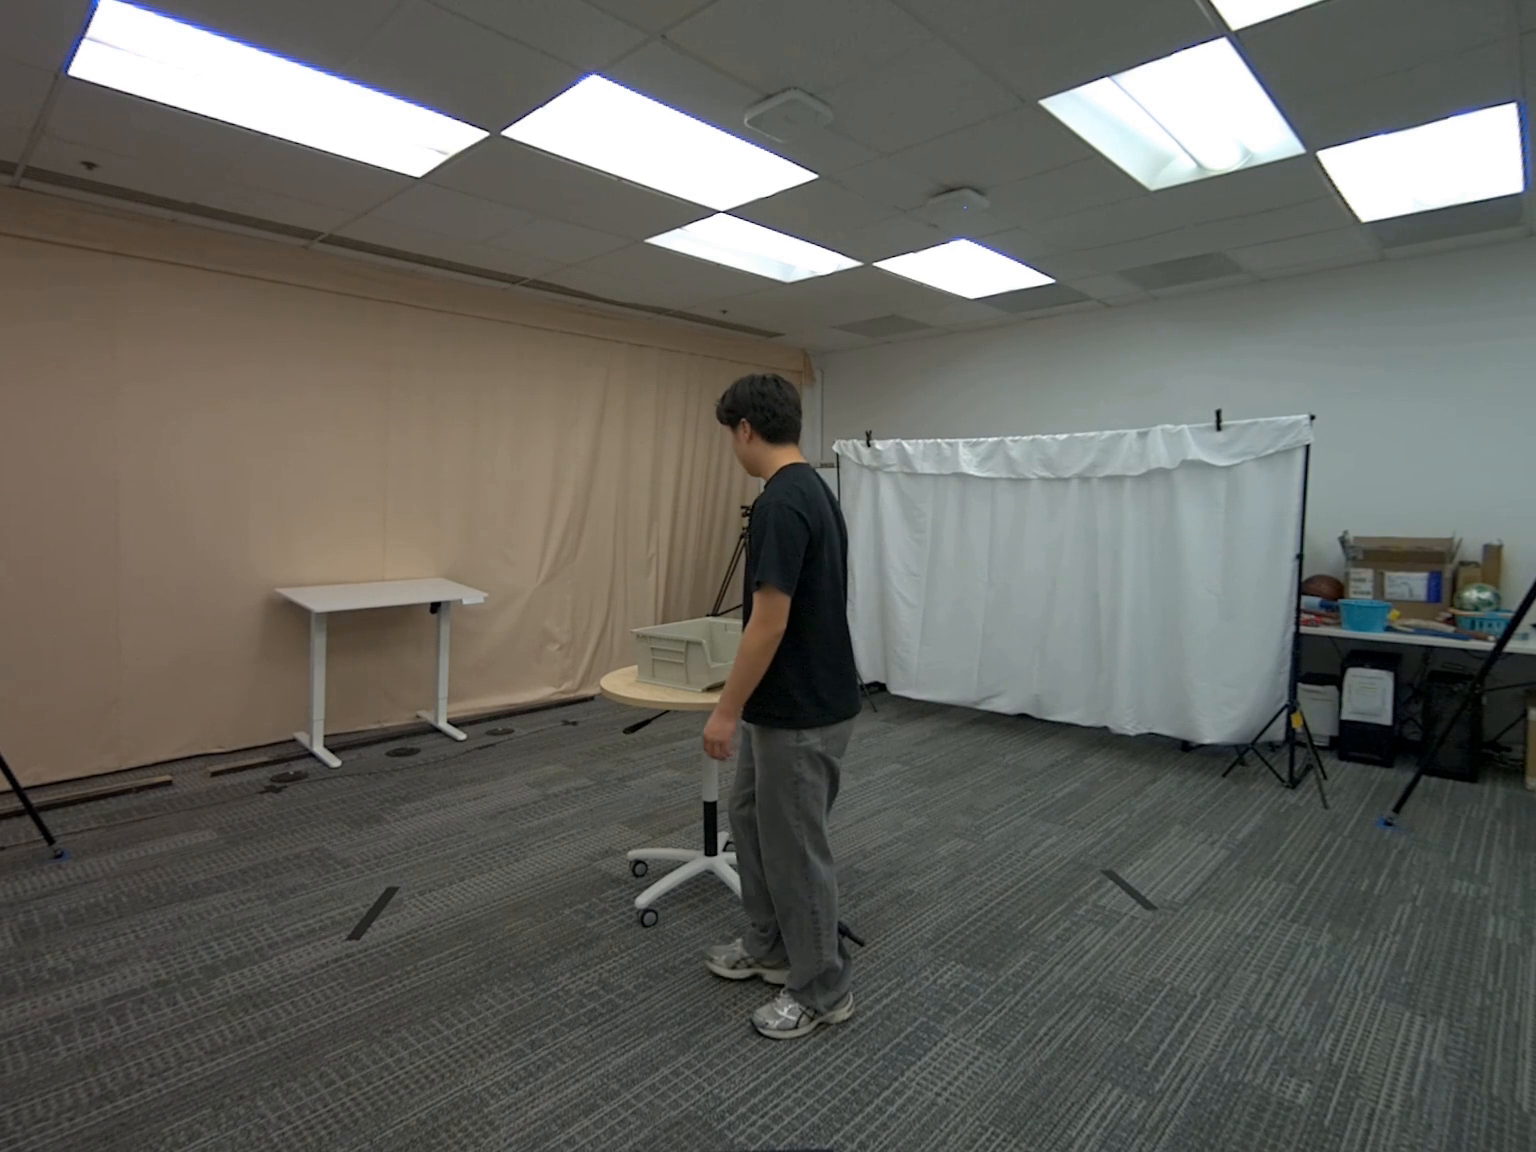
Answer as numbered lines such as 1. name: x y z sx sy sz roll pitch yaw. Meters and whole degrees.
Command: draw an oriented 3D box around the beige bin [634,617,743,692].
1. beige bin: -0.196 0.272 2.988 0.389 0.188 0.410 1 5 39
